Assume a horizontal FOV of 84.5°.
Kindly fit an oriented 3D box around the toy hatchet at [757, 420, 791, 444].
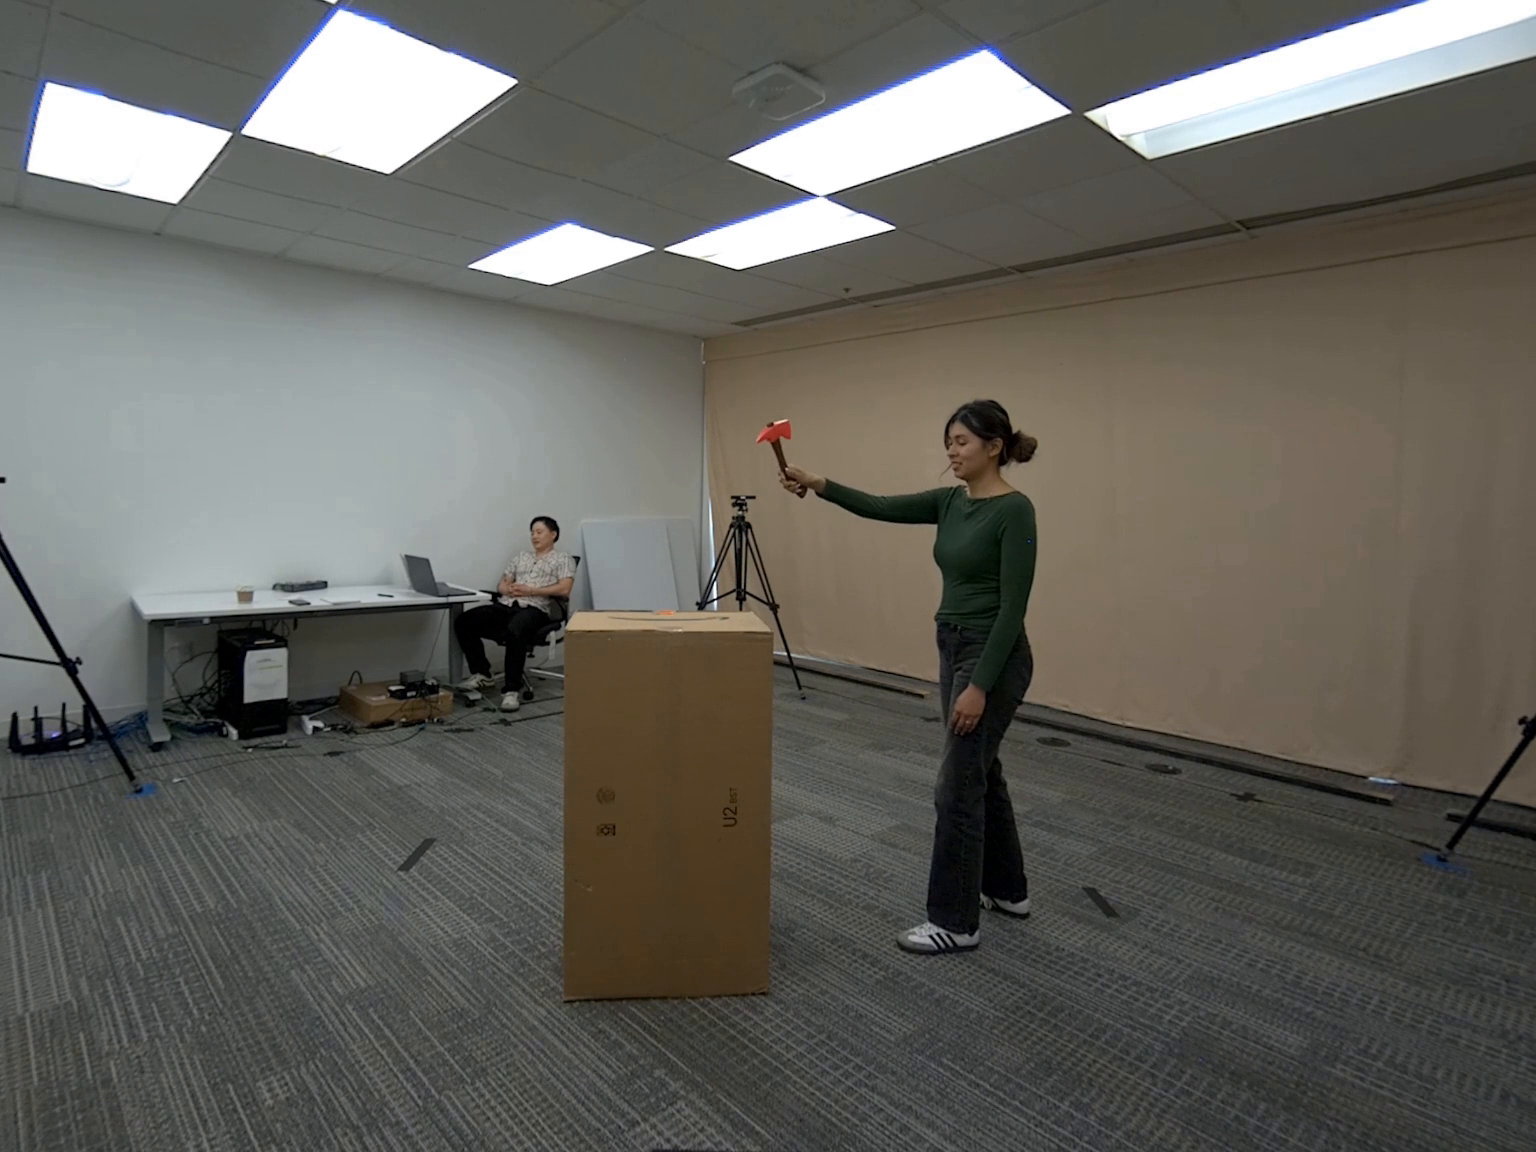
[{"bbox_3d":[0.059,-0.355,2.585,0.030,0.131,0.262,17,-23,47],"label":"toy hatchet"}]
